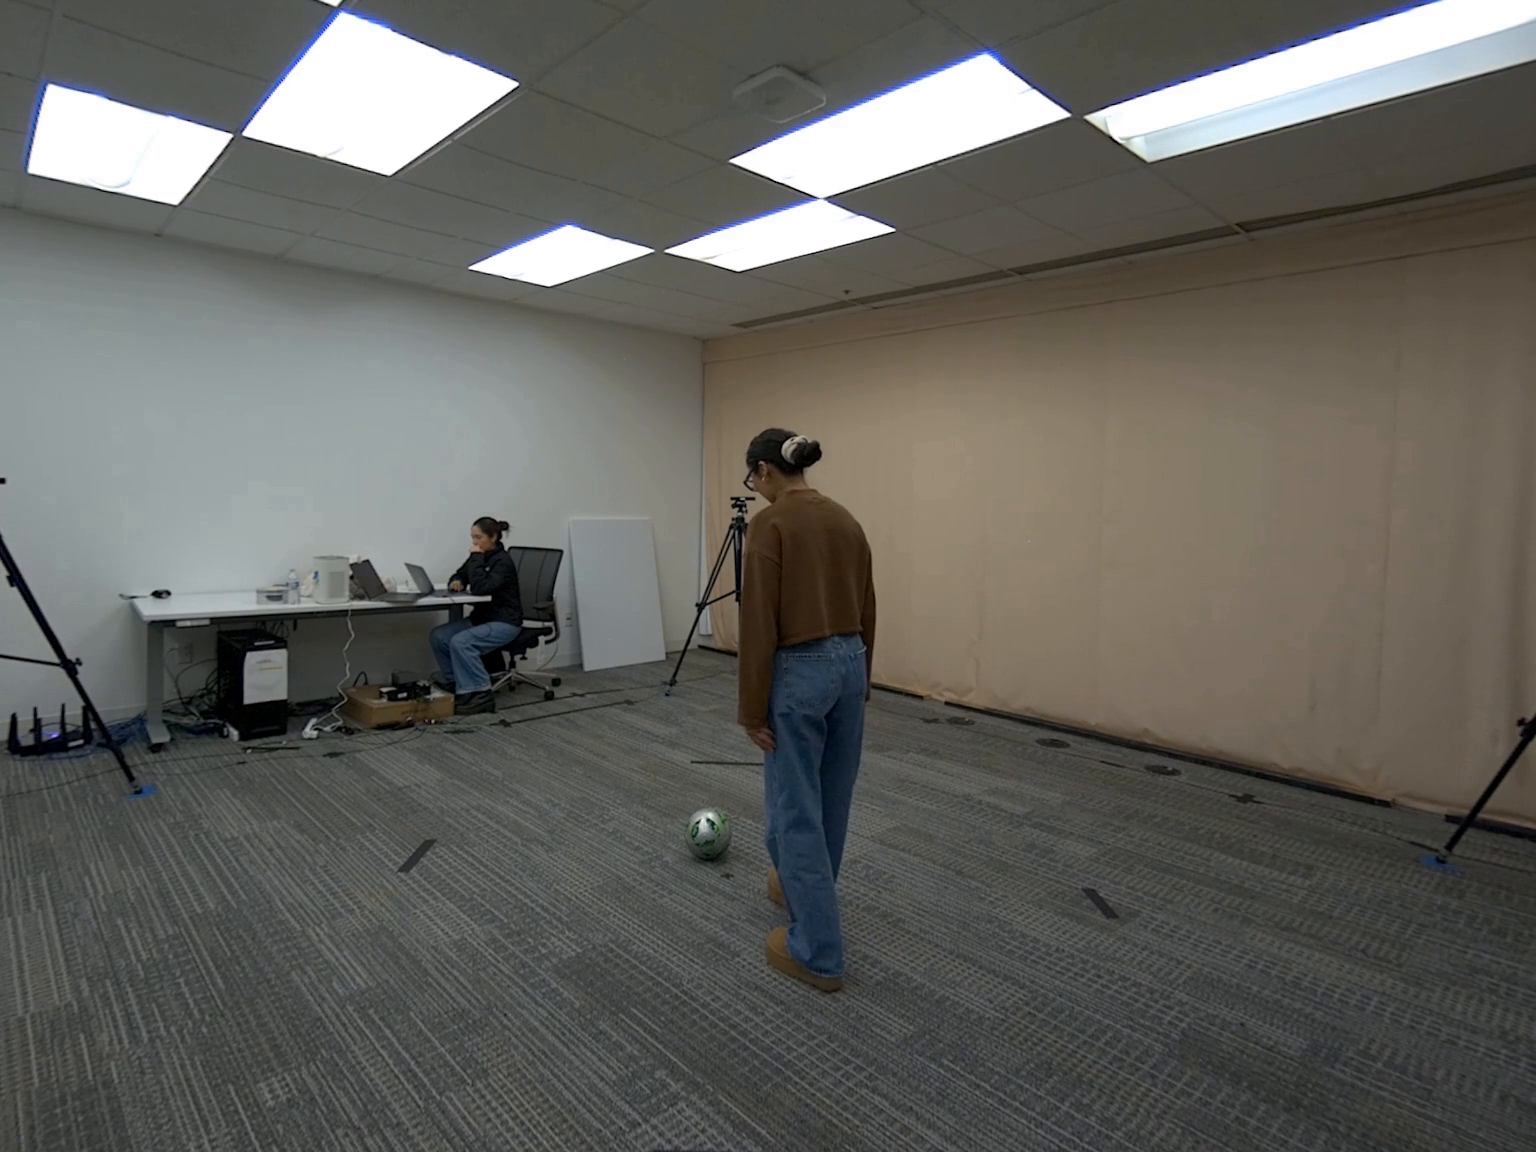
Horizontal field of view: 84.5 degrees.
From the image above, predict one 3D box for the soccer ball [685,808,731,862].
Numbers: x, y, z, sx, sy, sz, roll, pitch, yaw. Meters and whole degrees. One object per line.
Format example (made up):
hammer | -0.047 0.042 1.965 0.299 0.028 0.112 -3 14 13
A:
soccer ball | -0.238 0.994 3.258 0.187 0.187 0.188 1 4 -1
